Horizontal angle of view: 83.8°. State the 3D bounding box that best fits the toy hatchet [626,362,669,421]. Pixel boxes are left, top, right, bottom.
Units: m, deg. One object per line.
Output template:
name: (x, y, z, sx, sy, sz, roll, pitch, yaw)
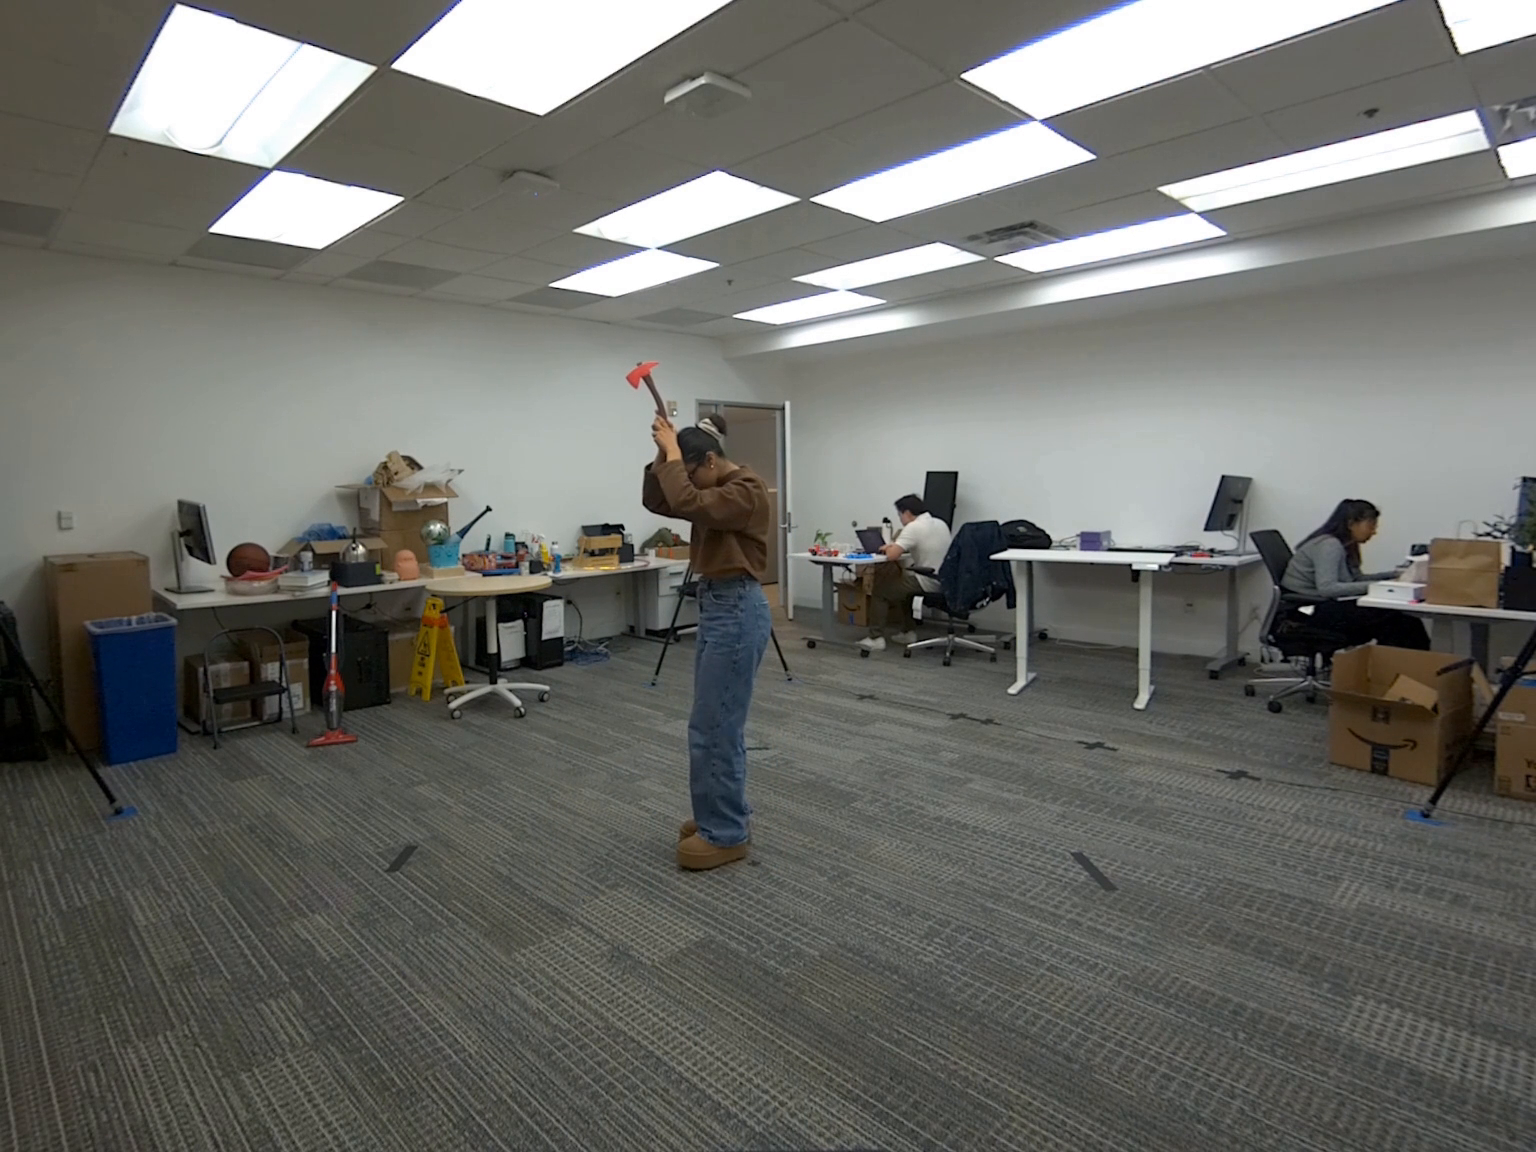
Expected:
toy hatchet: (-0.440, -0.649, 3.110, 0.129, 0.269, 0.030, -12, 5, -18)
